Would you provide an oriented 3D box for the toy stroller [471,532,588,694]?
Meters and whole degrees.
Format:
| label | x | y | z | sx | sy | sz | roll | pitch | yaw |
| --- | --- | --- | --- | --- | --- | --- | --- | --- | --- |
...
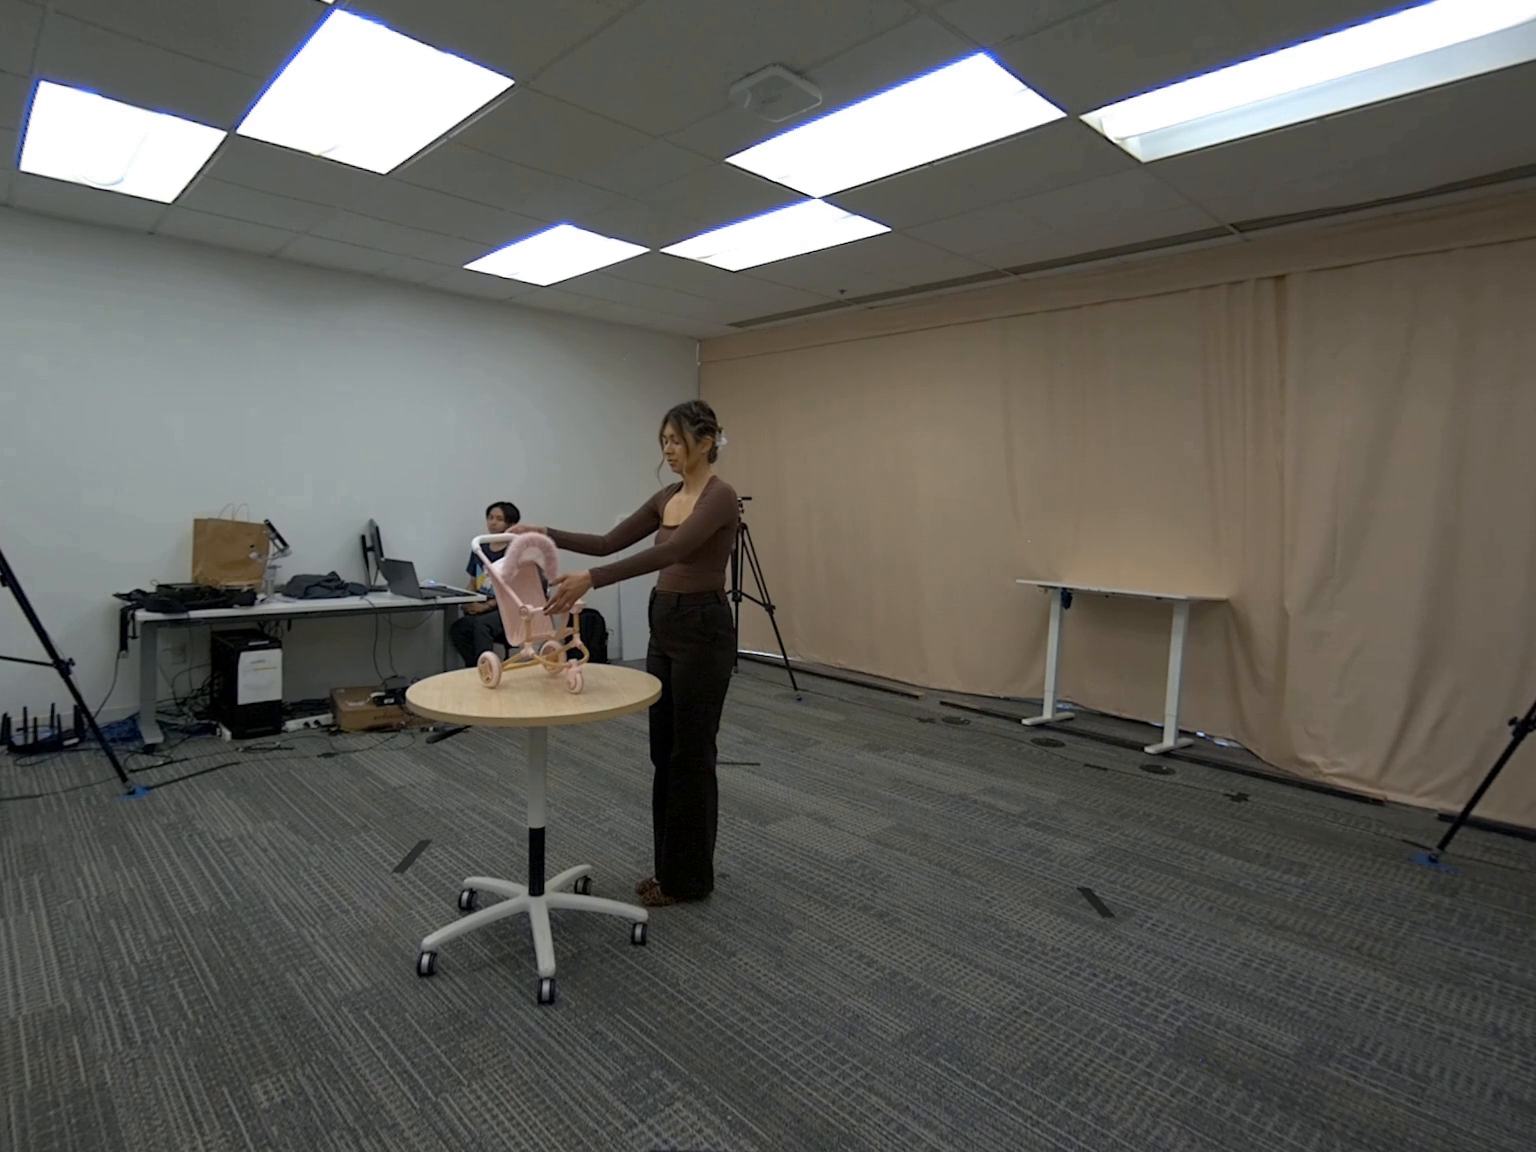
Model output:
| label | x | y | z | sx | sy | sz | roll | pitch | yaw |
| --- | --- | --- | --- | --- | --- | --- | --- | --- | --- |
| toy stroller | -0.725 | 0.112 | 2.599 | 0.347 | 0.537 | 0.275 | -12 | -5 | 42 |
